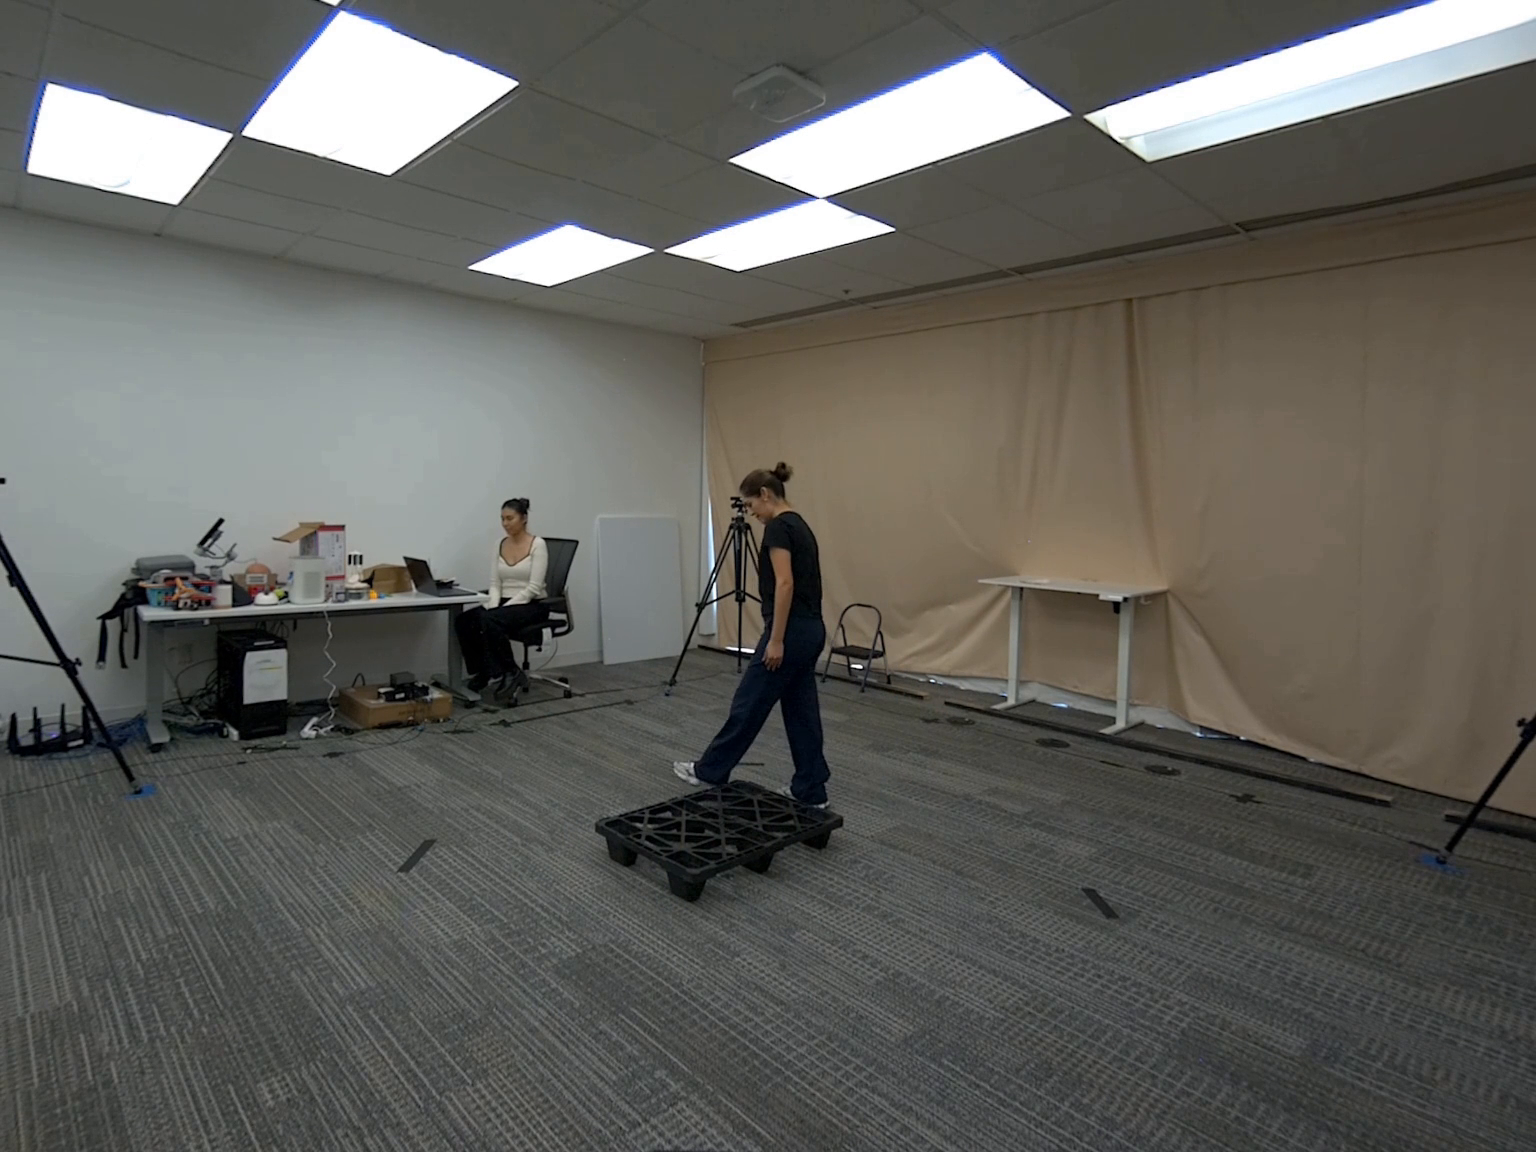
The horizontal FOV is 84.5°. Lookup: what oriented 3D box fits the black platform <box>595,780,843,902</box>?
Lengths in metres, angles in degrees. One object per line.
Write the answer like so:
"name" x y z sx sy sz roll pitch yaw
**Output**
"black platform" -0.195 1.025 3.292 0.787 0.143 0.620 -3 6 -45
